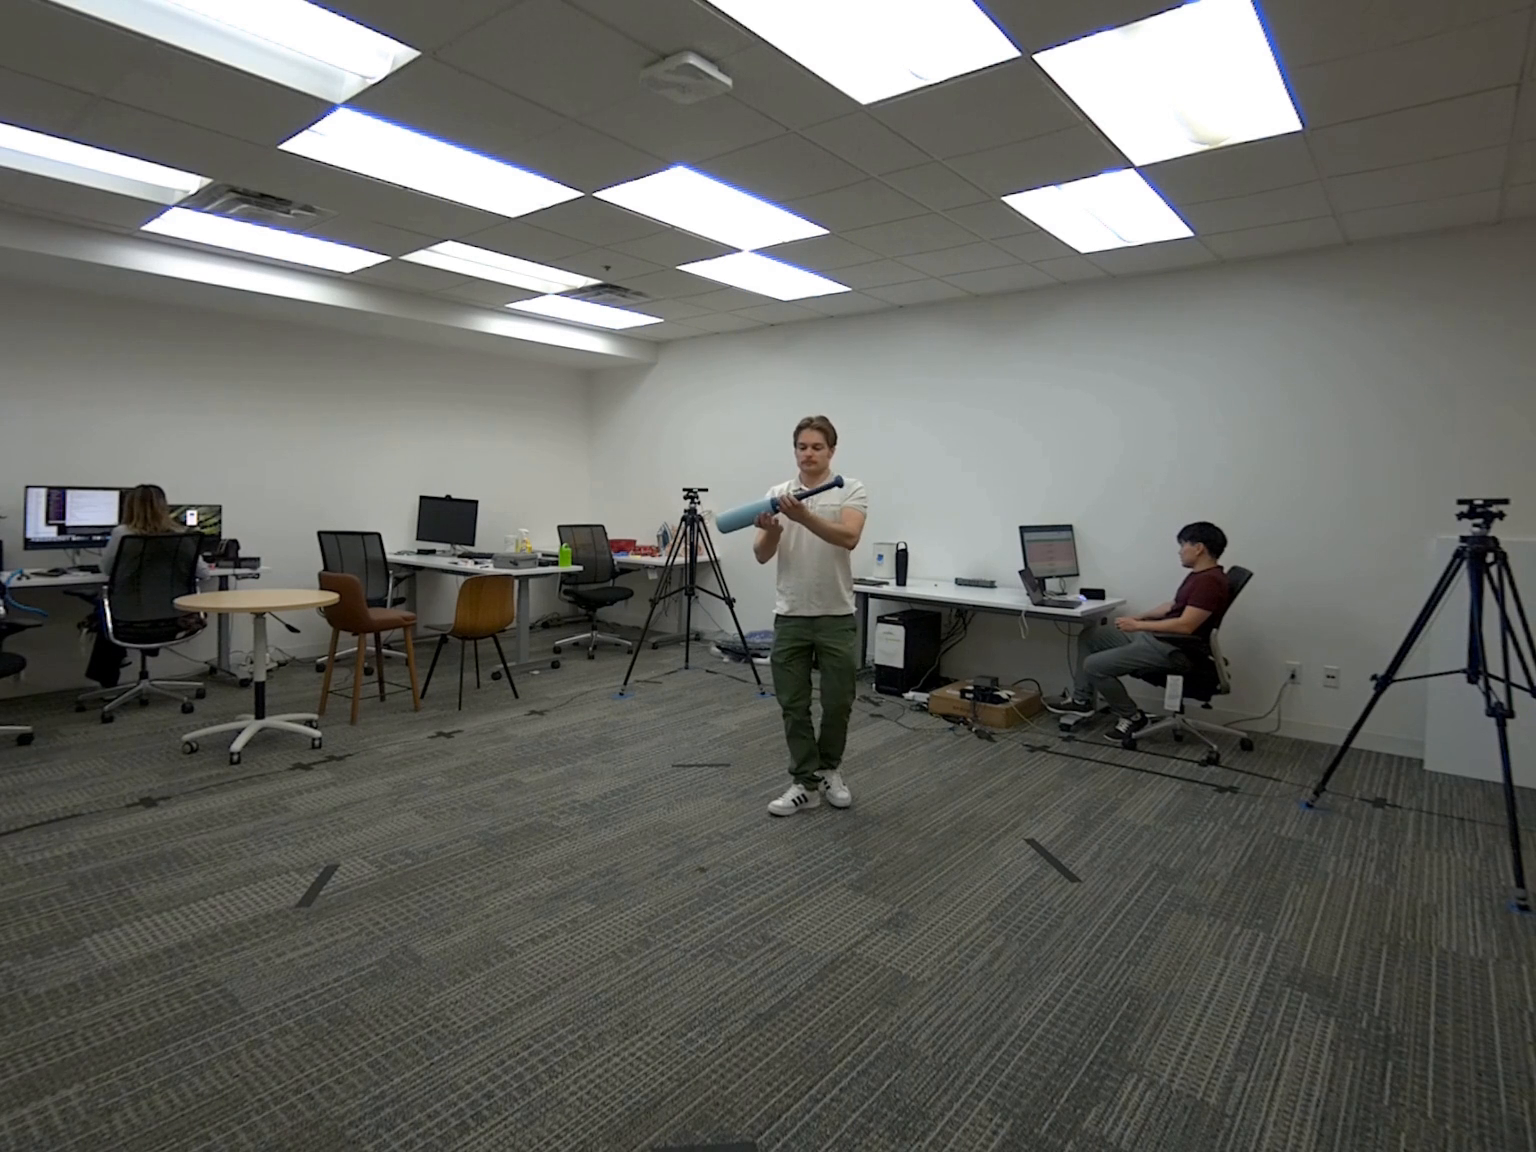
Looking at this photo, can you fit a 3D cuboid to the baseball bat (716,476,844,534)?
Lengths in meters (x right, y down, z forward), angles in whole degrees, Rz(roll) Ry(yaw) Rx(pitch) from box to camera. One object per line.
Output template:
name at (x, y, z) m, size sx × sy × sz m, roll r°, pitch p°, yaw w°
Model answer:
baseball bat at (0.036, -0.288, 3.319) m, size 0.551 × 0.089 × 0.087 m, roll -18°, pitch -4°, yaw 23°
